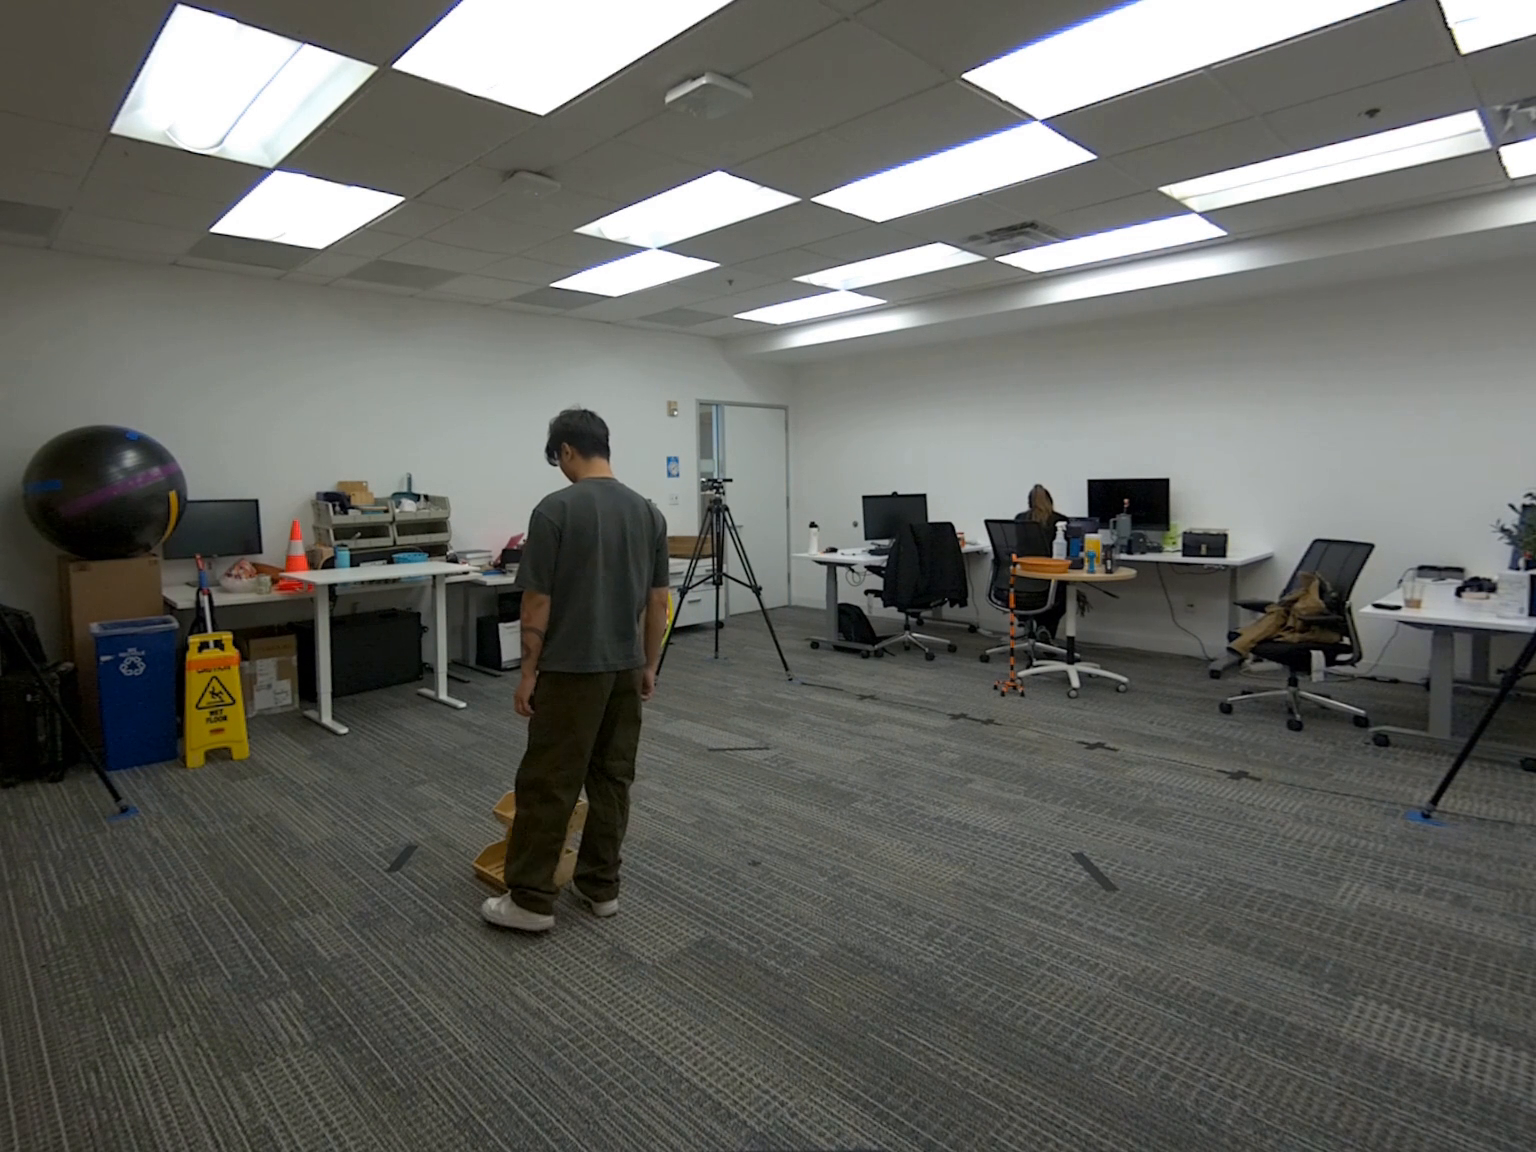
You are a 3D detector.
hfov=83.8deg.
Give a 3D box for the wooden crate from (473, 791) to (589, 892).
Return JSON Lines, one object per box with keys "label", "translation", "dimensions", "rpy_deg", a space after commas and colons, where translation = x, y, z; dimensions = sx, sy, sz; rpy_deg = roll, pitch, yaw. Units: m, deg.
{"label": "wooden crate", "translation": [-0.848, 0.934, 3.045], "dimensions": [0.334, 0.272, 0.294], "rpy_deg": [4, 6, 42]}
